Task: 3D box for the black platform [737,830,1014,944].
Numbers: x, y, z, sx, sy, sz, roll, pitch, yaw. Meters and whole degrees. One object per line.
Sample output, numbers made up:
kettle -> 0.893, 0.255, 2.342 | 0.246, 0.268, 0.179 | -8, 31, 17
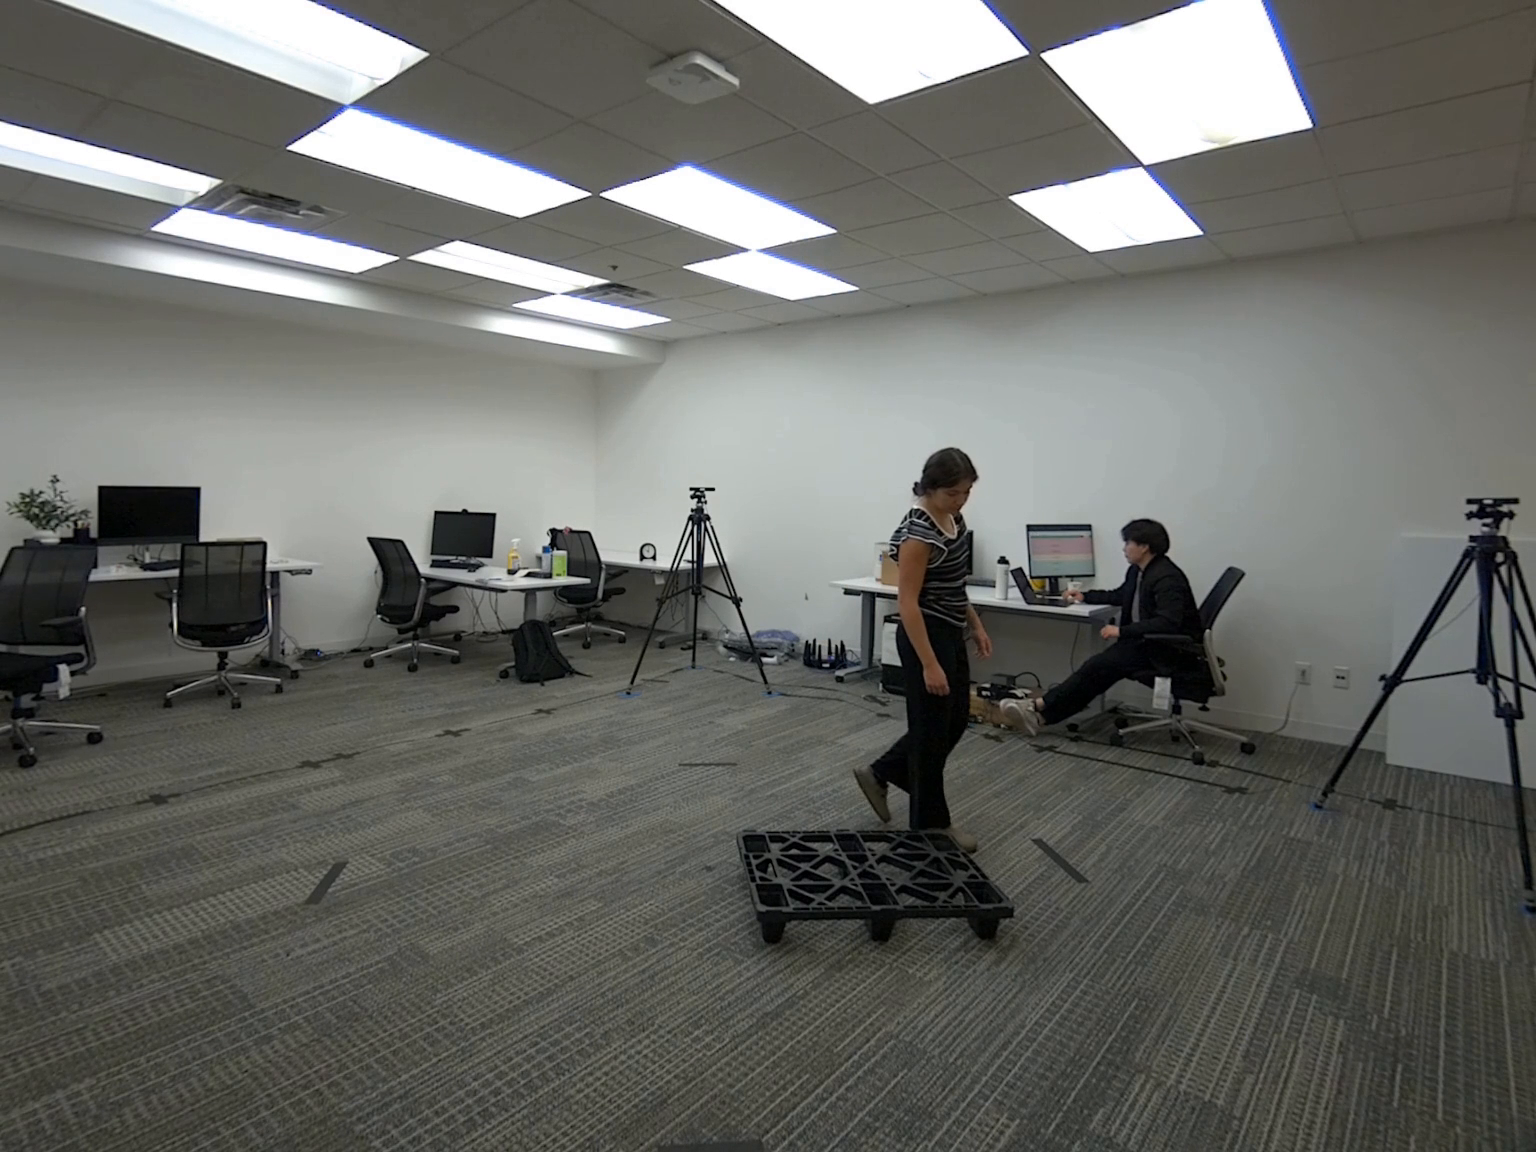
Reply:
black platform -> 0.312, 1.035, 2.862 | 0.801, 0.142, 0.612 | 0, 7, -6
